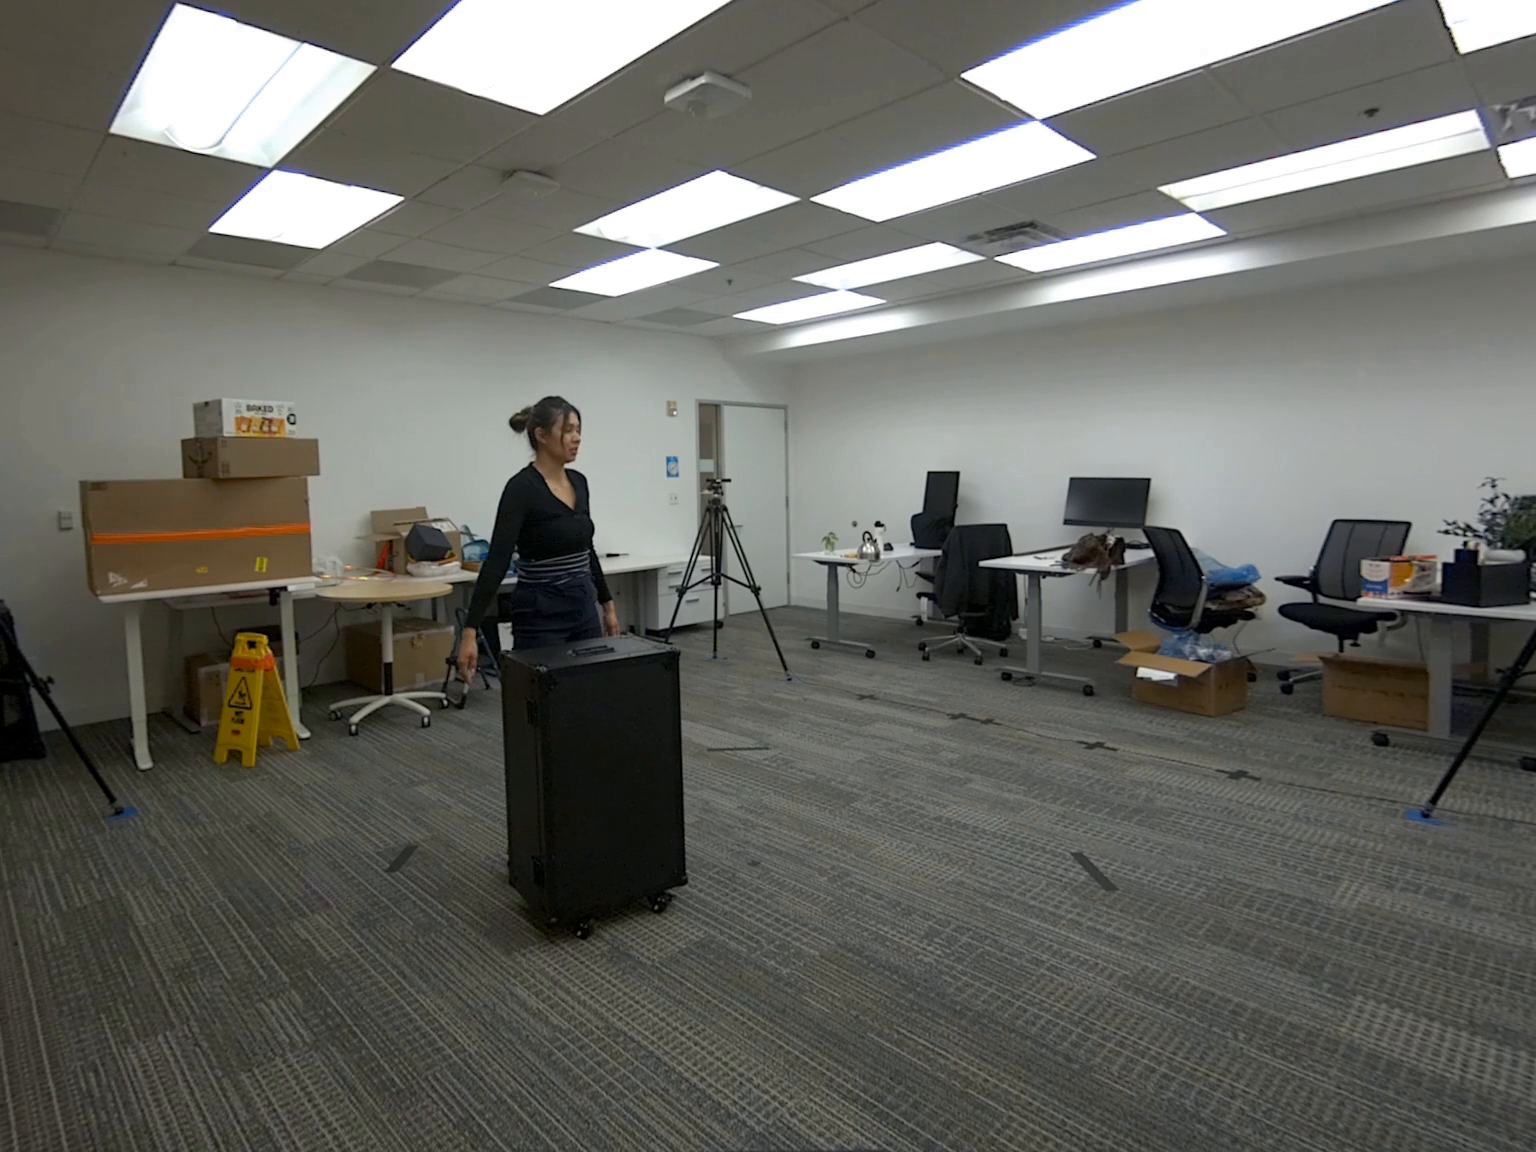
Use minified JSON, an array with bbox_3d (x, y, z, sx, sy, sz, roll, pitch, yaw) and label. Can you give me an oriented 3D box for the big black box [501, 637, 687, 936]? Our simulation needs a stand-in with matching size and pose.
[{"bbox_3d":[-0.579,0.663,2.801,0.508,0.859,0.407,-4,4,-34],"label":"big black box"}]
